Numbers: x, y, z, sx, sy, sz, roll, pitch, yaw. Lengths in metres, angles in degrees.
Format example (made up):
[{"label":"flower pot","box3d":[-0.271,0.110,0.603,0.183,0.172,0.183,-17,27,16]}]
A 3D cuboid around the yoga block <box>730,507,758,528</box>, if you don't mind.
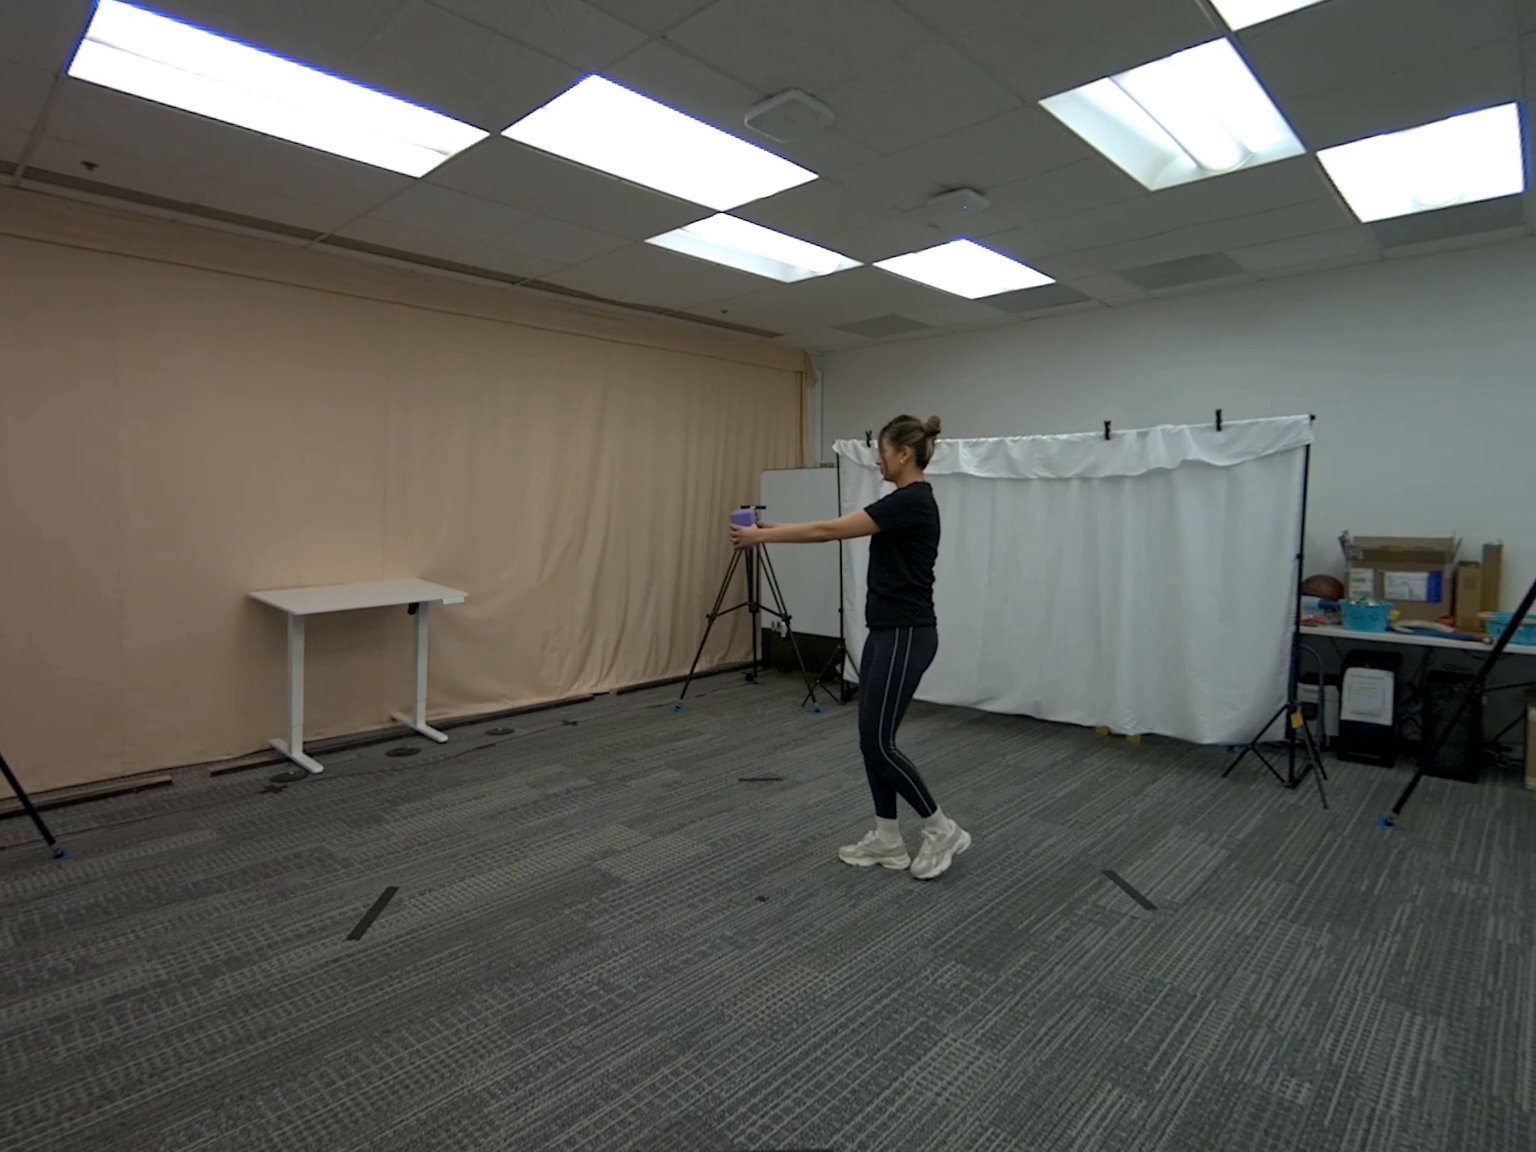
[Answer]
[{"label":"yoga block","box3d":[-0.079,-0.187,3.321,0.076,0.148,0.230,-4,7,-1]}]
